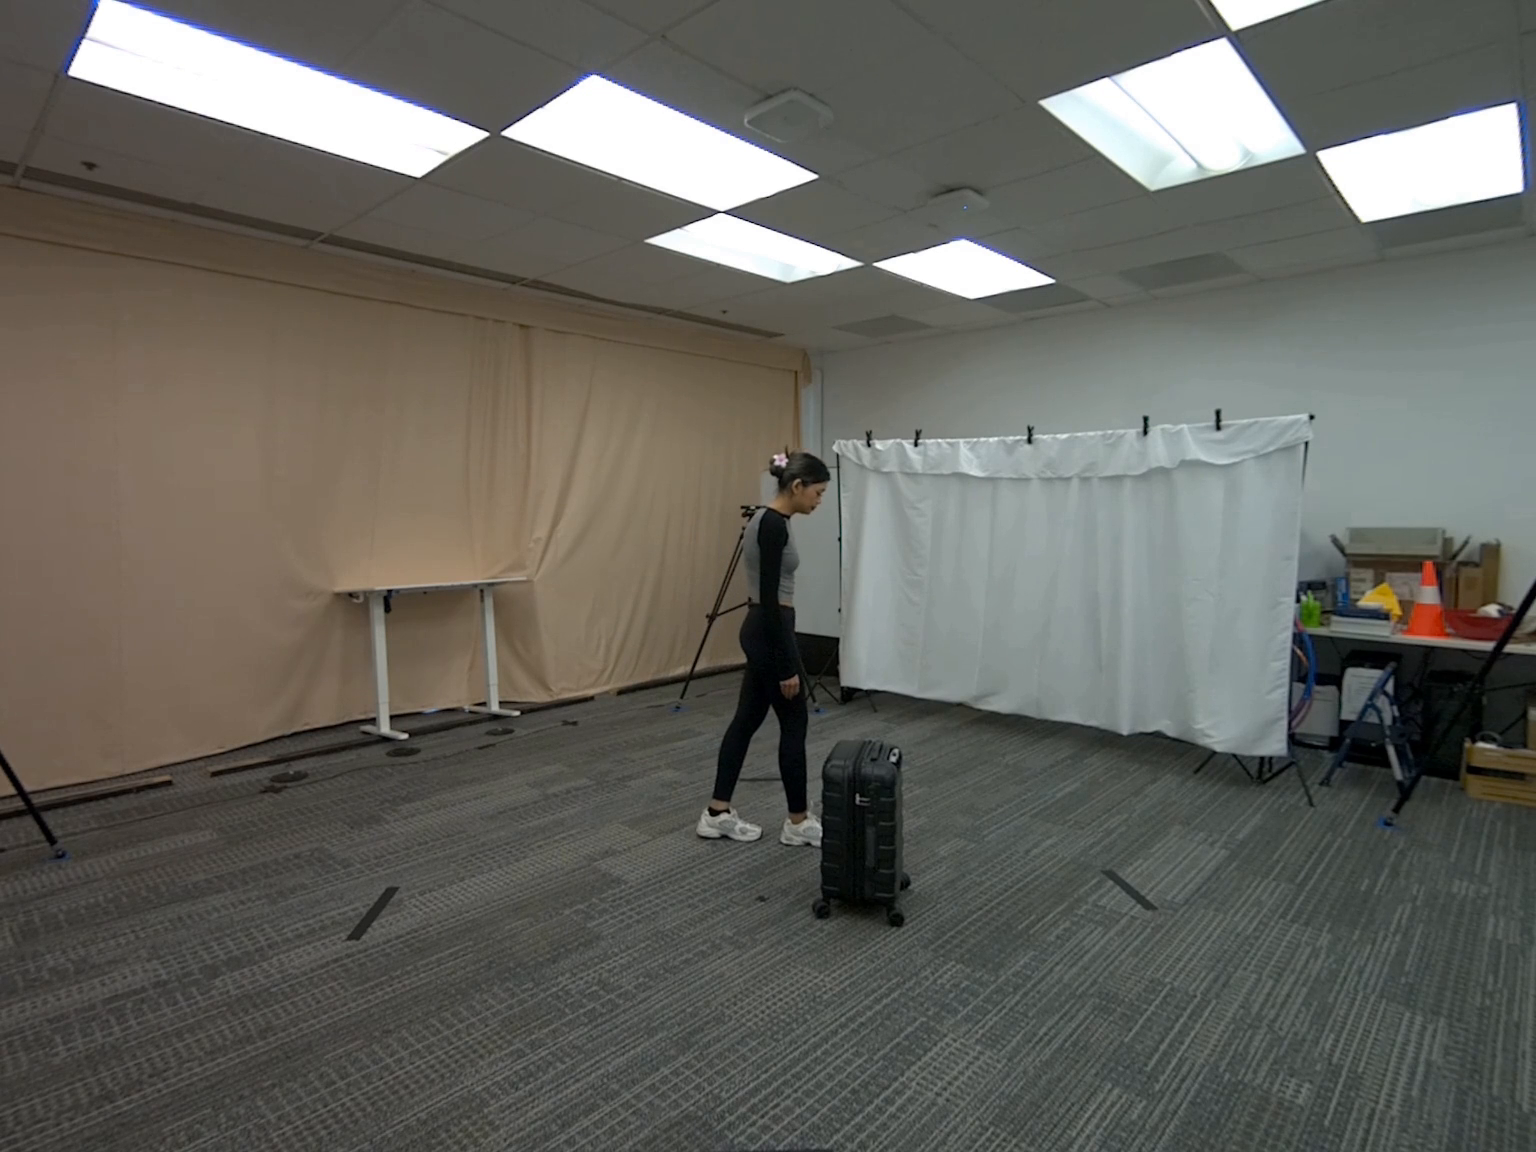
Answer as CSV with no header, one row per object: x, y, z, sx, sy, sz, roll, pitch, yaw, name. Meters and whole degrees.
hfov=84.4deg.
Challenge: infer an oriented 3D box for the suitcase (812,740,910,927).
0.342,0.868,2.952,0.253,0.548,0.370,0,4,15,suitcase
